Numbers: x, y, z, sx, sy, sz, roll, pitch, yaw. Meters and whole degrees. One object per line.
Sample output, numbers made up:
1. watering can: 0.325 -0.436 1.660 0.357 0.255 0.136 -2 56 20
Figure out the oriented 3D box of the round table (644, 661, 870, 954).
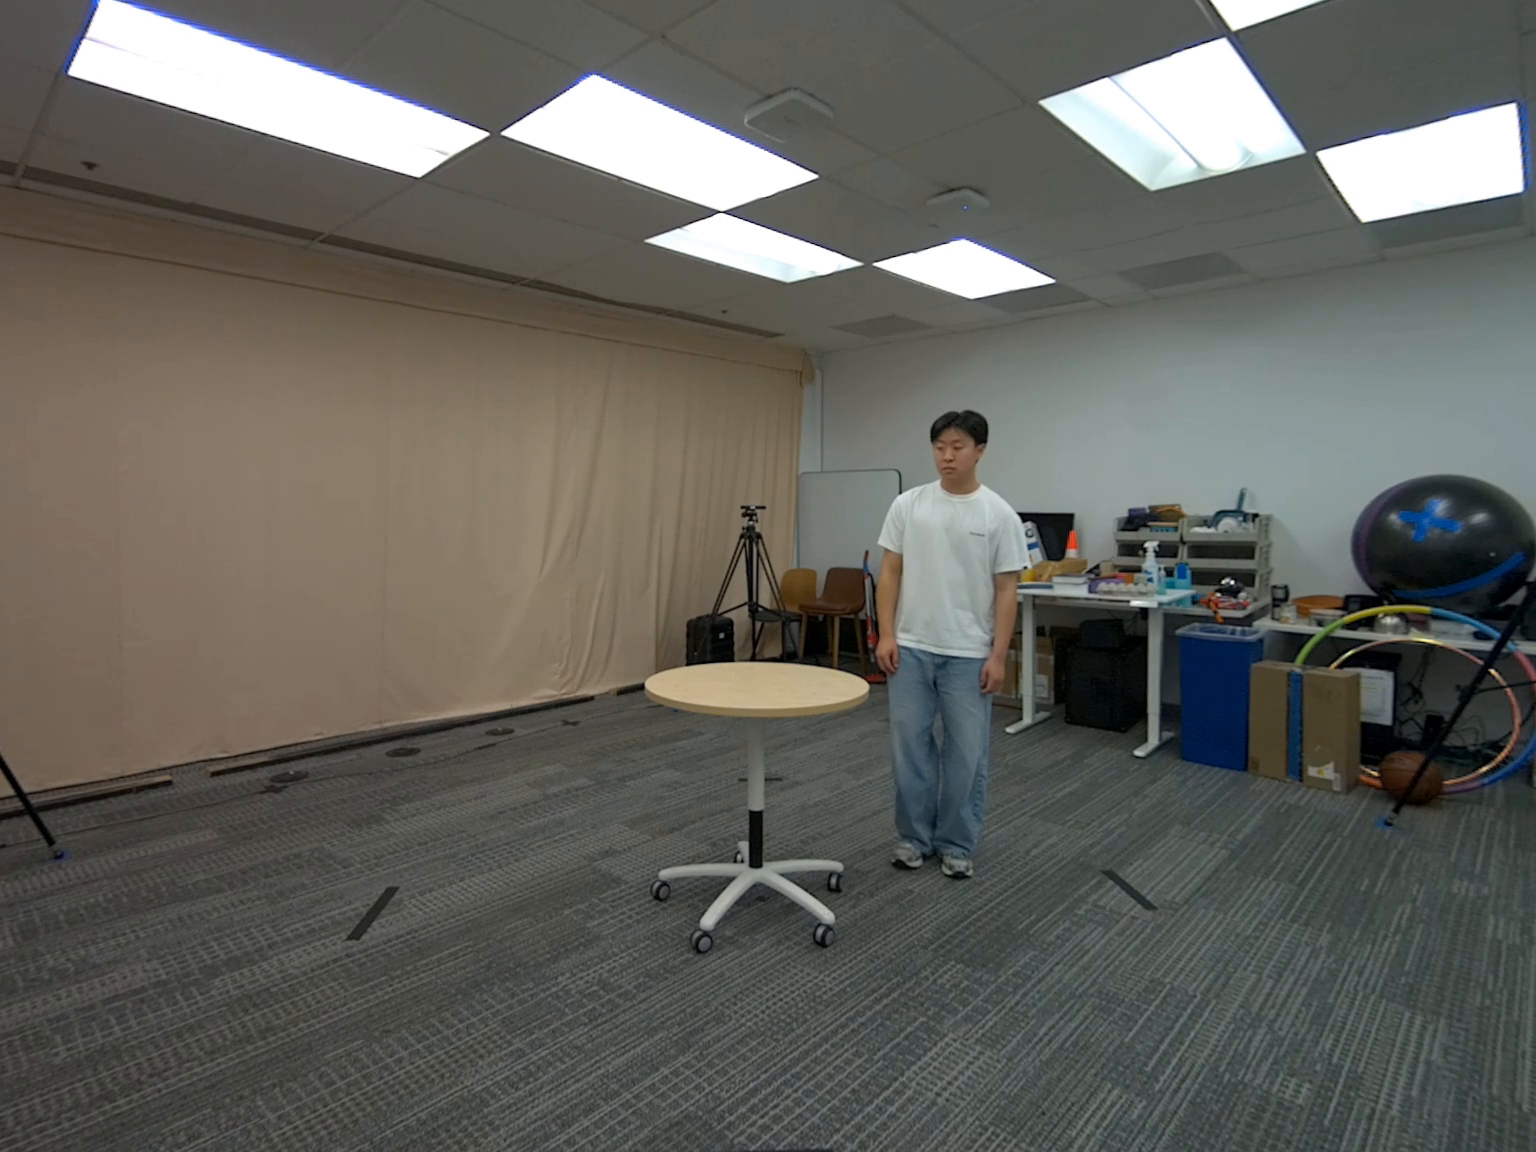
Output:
1. round table: -0.037 0.761 2.914 0.763 0.792 0.767 0 4 -2
